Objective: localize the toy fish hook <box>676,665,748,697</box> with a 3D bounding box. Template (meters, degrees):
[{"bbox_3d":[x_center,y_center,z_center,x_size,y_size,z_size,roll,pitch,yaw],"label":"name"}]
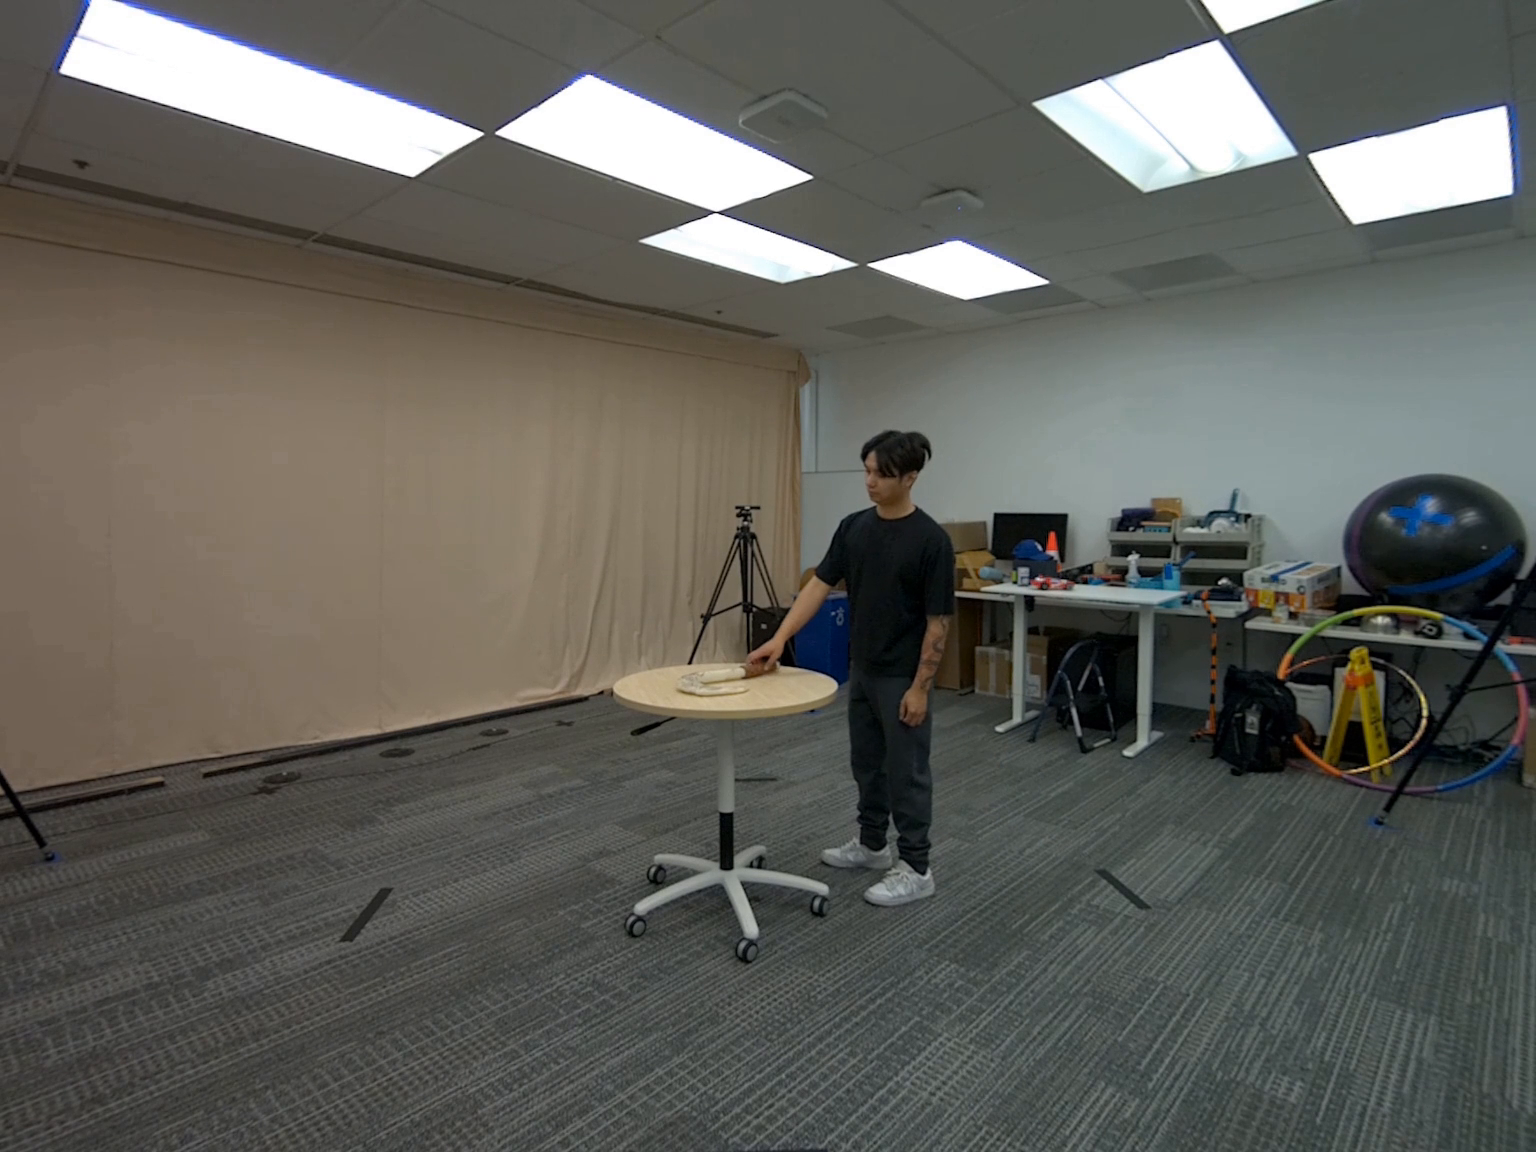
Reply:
[{"bbox_3d":[-0.086,0.357,2.890,0.491,0.048,0.232,-7,14,-44],"label":"toy fish hook"}]
